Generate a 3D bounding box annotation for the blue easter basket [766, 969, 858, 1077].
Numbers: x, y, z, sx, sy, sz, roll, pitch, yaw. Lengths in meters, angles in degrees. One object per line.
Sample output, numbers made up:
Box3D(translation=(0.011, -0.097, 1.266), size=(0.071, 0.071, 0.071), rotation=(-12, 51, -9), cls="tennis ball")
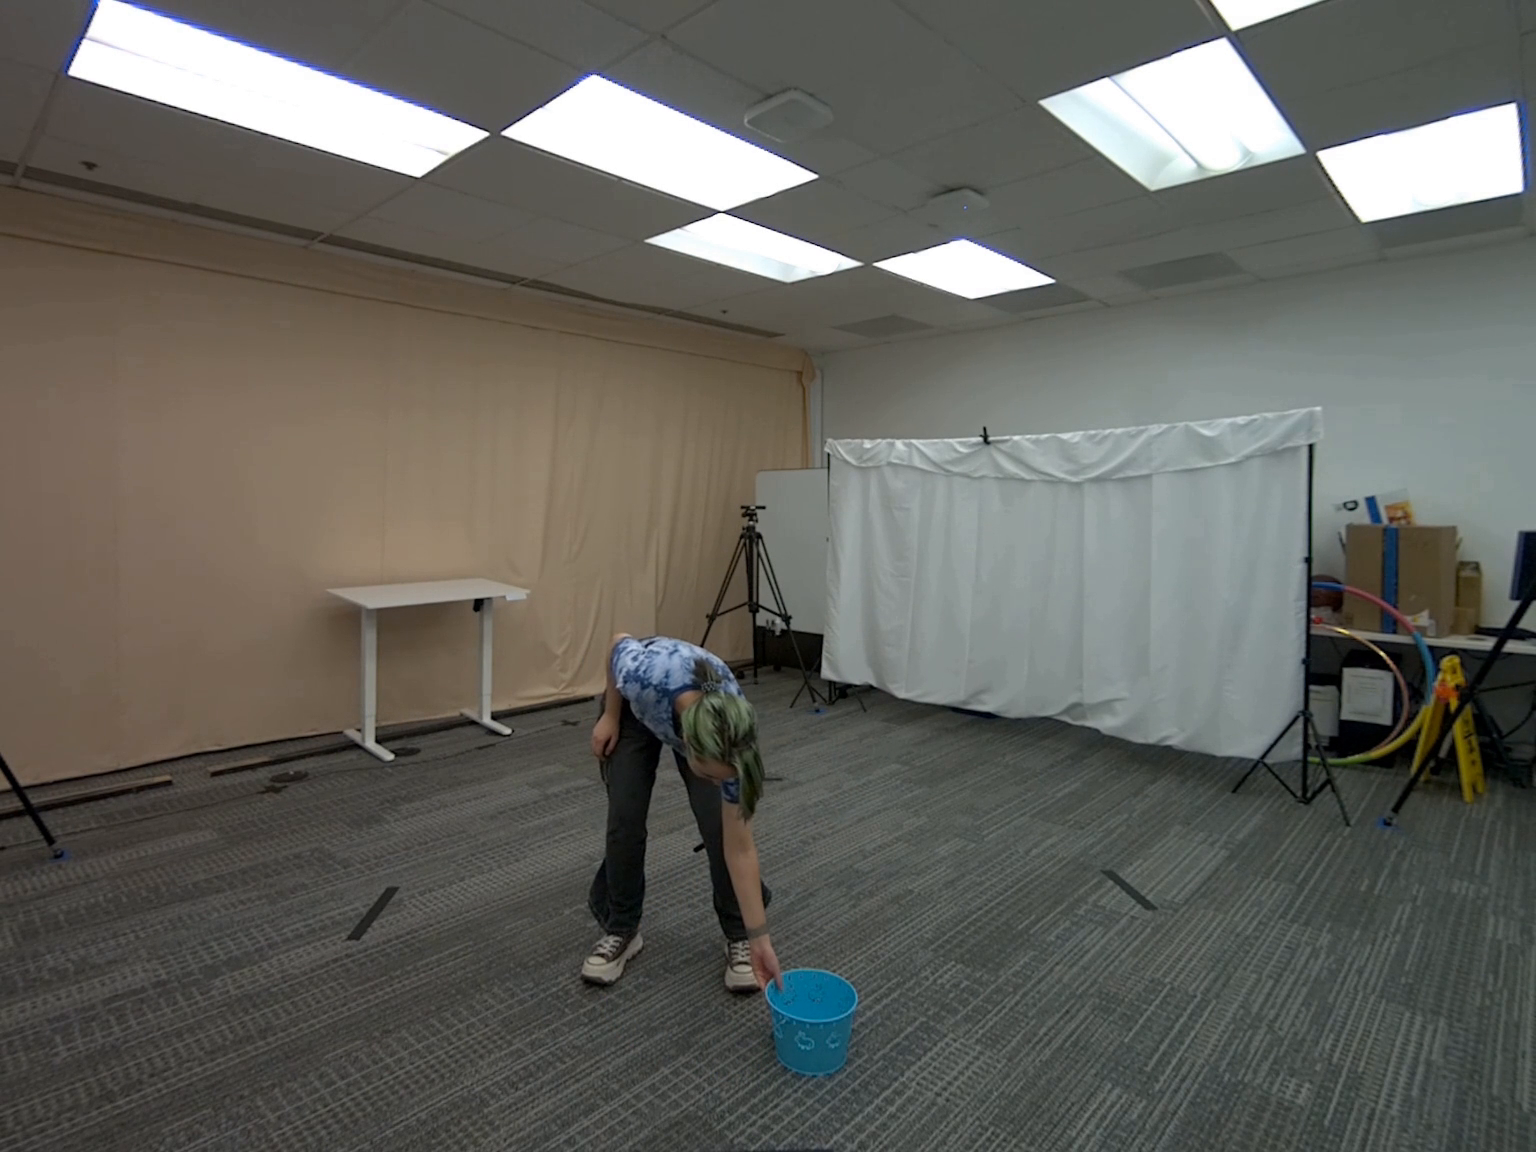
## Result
Box3D(translation=(0.115, 1.139, 2.145), size=(0.243, 0.155, 0.244), rotation=(1, 3, -2), cls="blue easter basket")
